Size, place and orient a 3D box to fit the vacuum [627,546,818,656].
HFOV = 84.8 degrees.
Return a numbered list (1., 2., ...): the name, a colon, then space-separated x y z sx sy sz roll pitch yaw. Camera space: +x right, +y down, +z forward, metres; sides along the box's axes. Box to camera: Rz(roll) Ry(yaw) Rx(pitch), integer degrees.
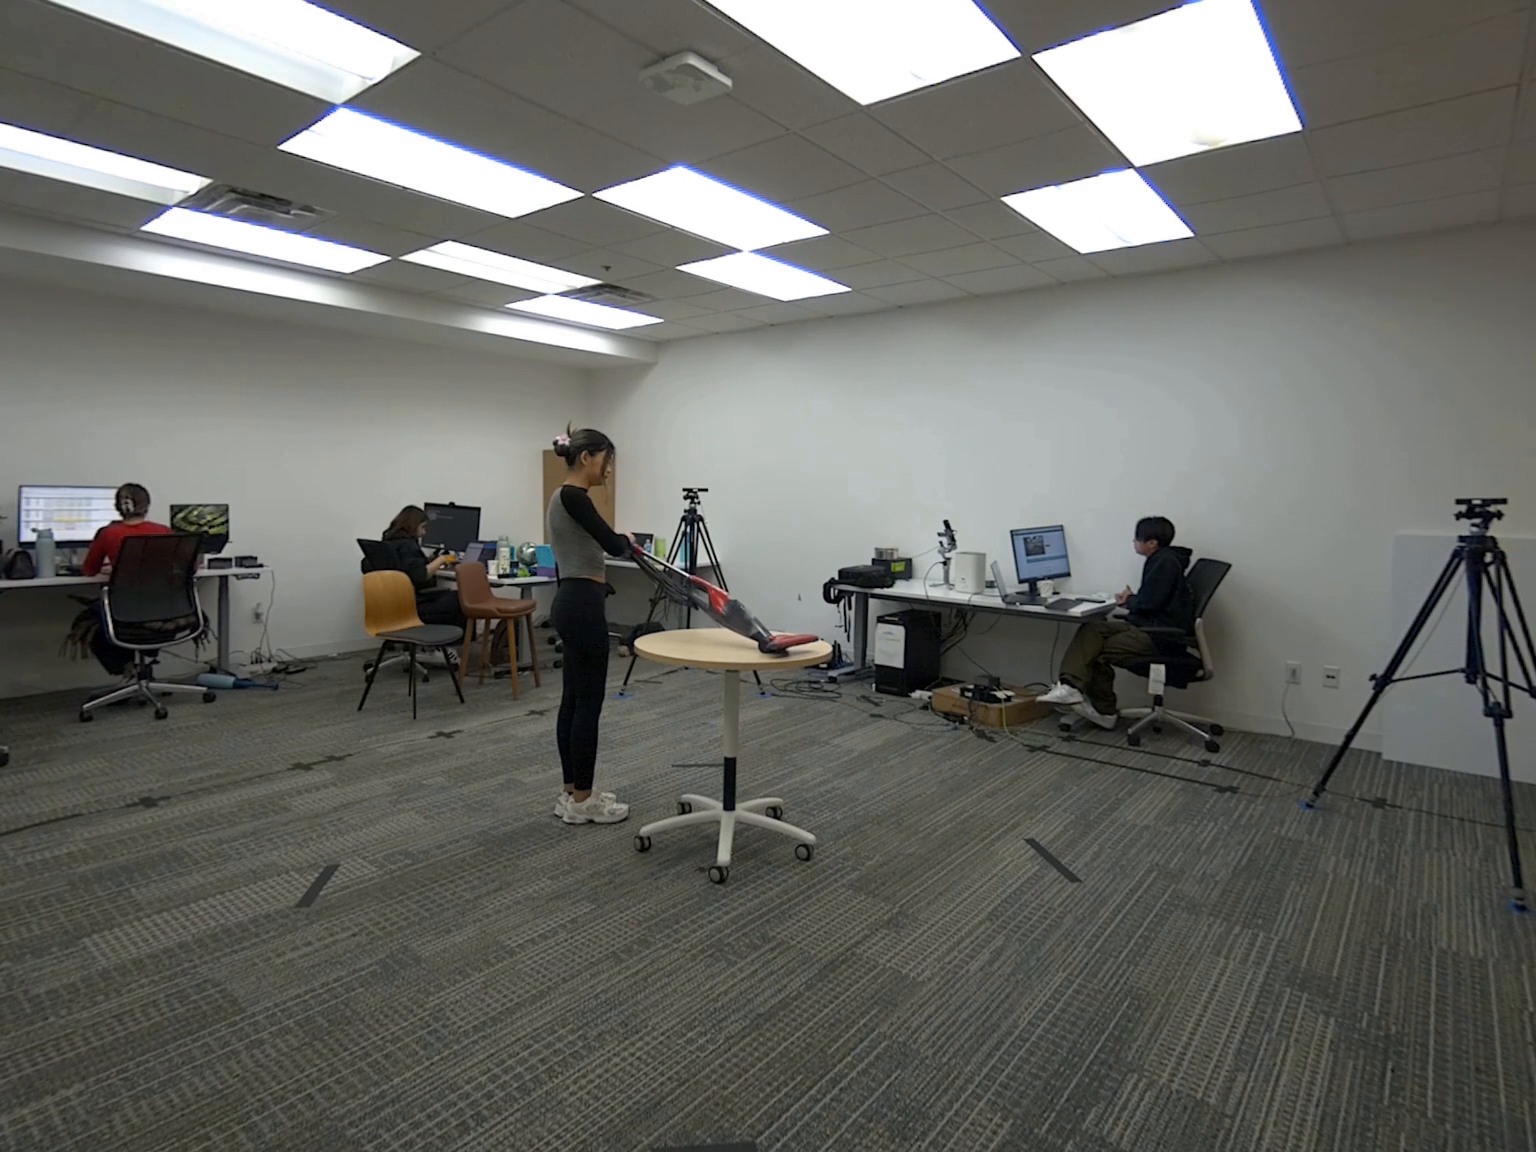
1. vacuum: -0.313 0.058 3.440 1.092 0.142 0.245 27 21 36
